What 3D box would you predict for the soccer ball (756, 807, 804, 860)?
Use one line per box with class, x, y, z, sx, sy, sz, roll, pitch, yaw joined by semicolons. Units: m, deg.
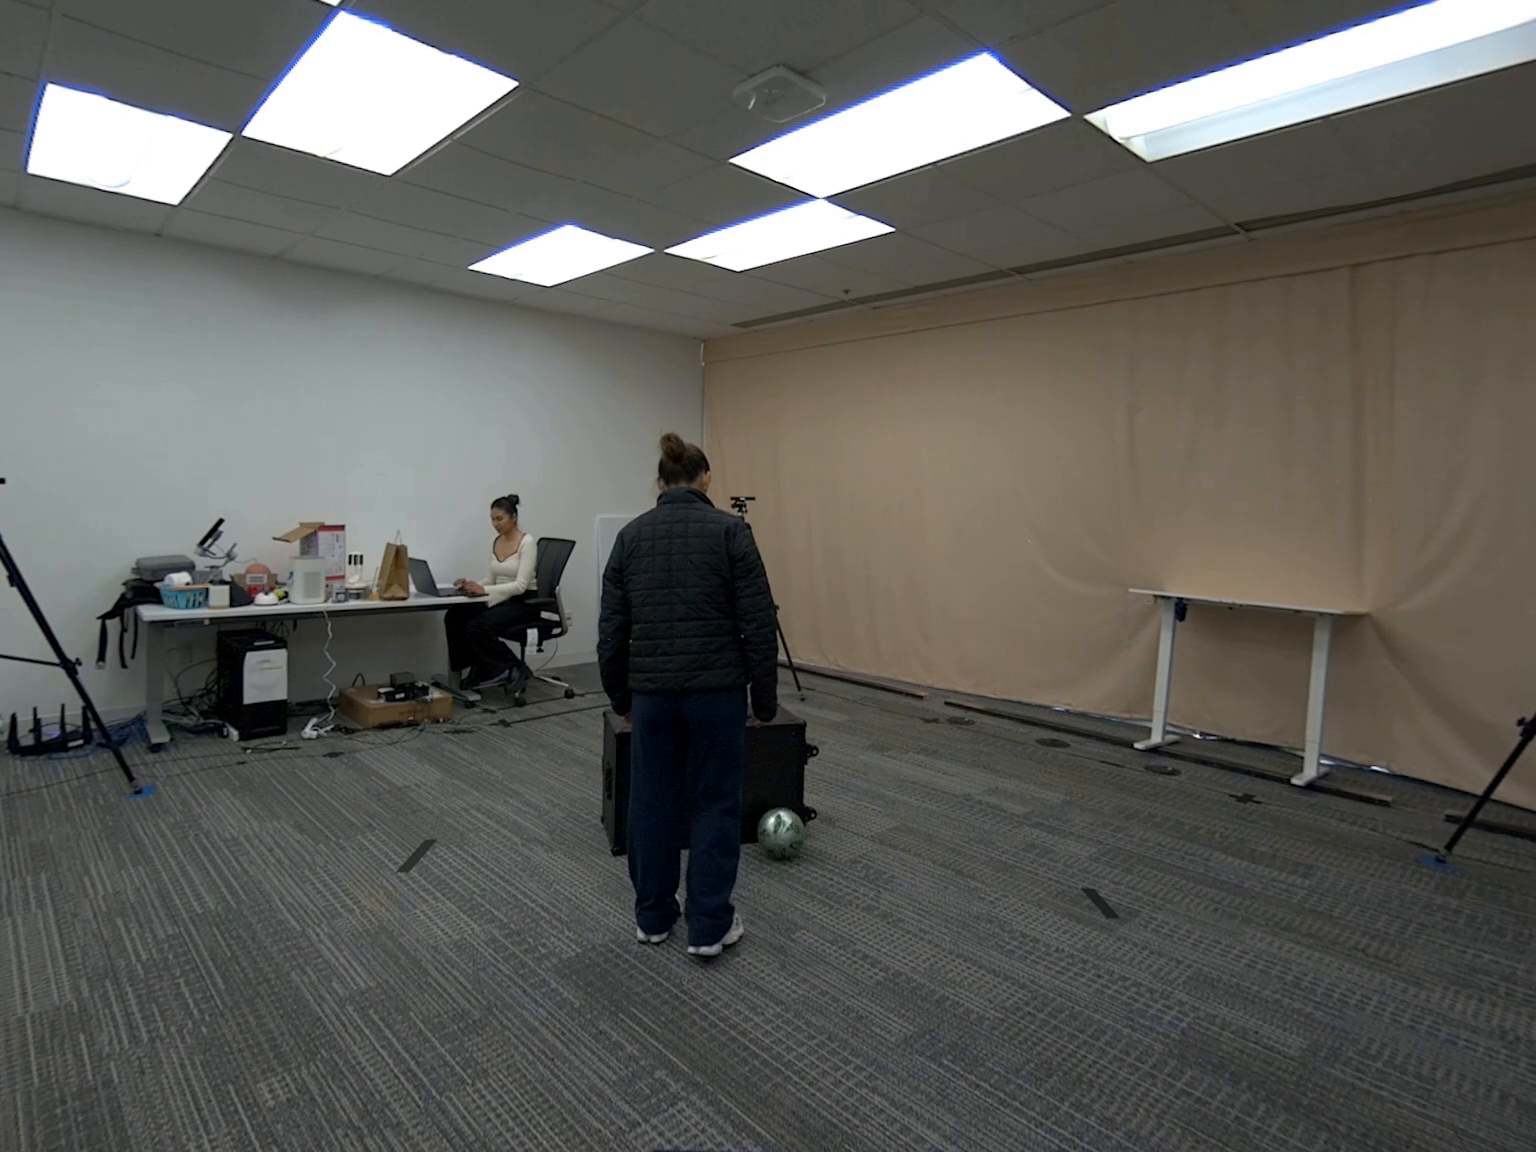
soccer ball;0.029;1.002;3.277;0.187;0.187;0.188;1;4;-1
